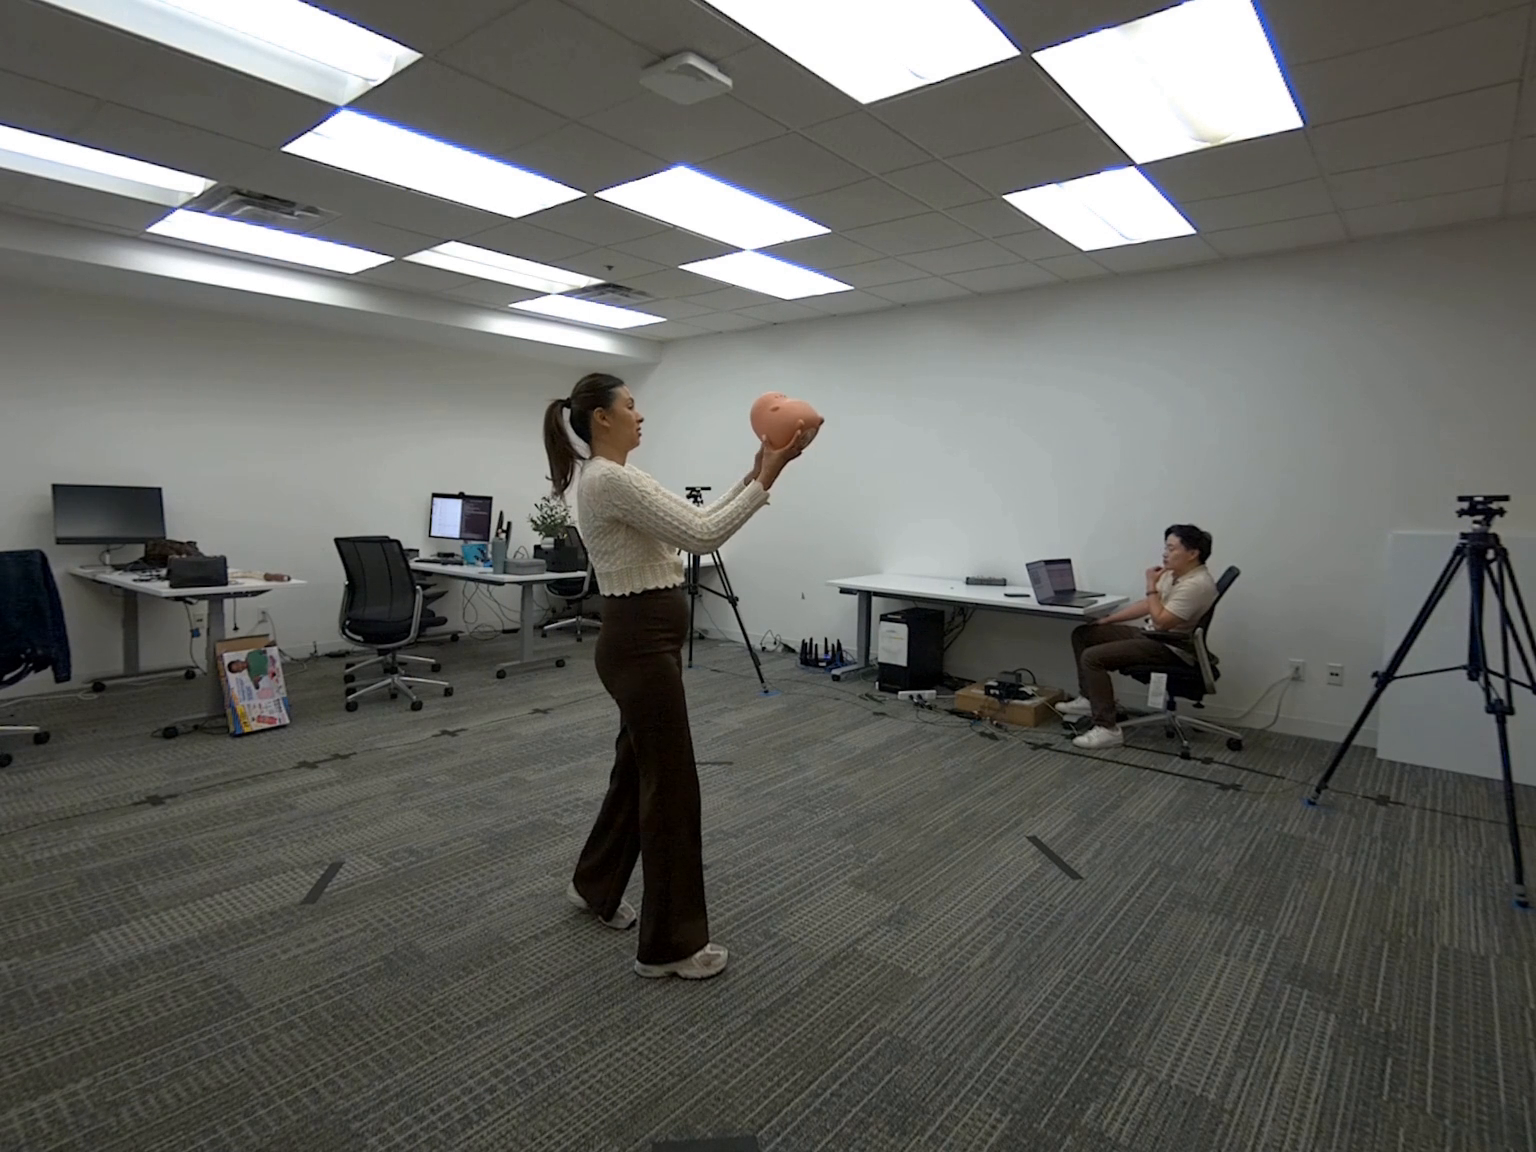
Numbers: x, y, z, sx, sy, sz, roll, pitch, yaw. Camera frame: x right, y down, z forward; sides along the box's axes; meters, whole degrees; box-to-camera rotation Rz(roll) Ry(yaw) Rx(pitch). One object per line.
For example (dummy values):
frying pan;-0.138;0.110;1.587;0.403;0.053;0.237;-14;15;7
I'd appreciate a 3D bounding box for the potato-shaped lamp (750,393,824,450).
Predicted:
potato-shaped lamp;0.028;-0.454;2.472;0.203;0.170;0.162;46;38;16
